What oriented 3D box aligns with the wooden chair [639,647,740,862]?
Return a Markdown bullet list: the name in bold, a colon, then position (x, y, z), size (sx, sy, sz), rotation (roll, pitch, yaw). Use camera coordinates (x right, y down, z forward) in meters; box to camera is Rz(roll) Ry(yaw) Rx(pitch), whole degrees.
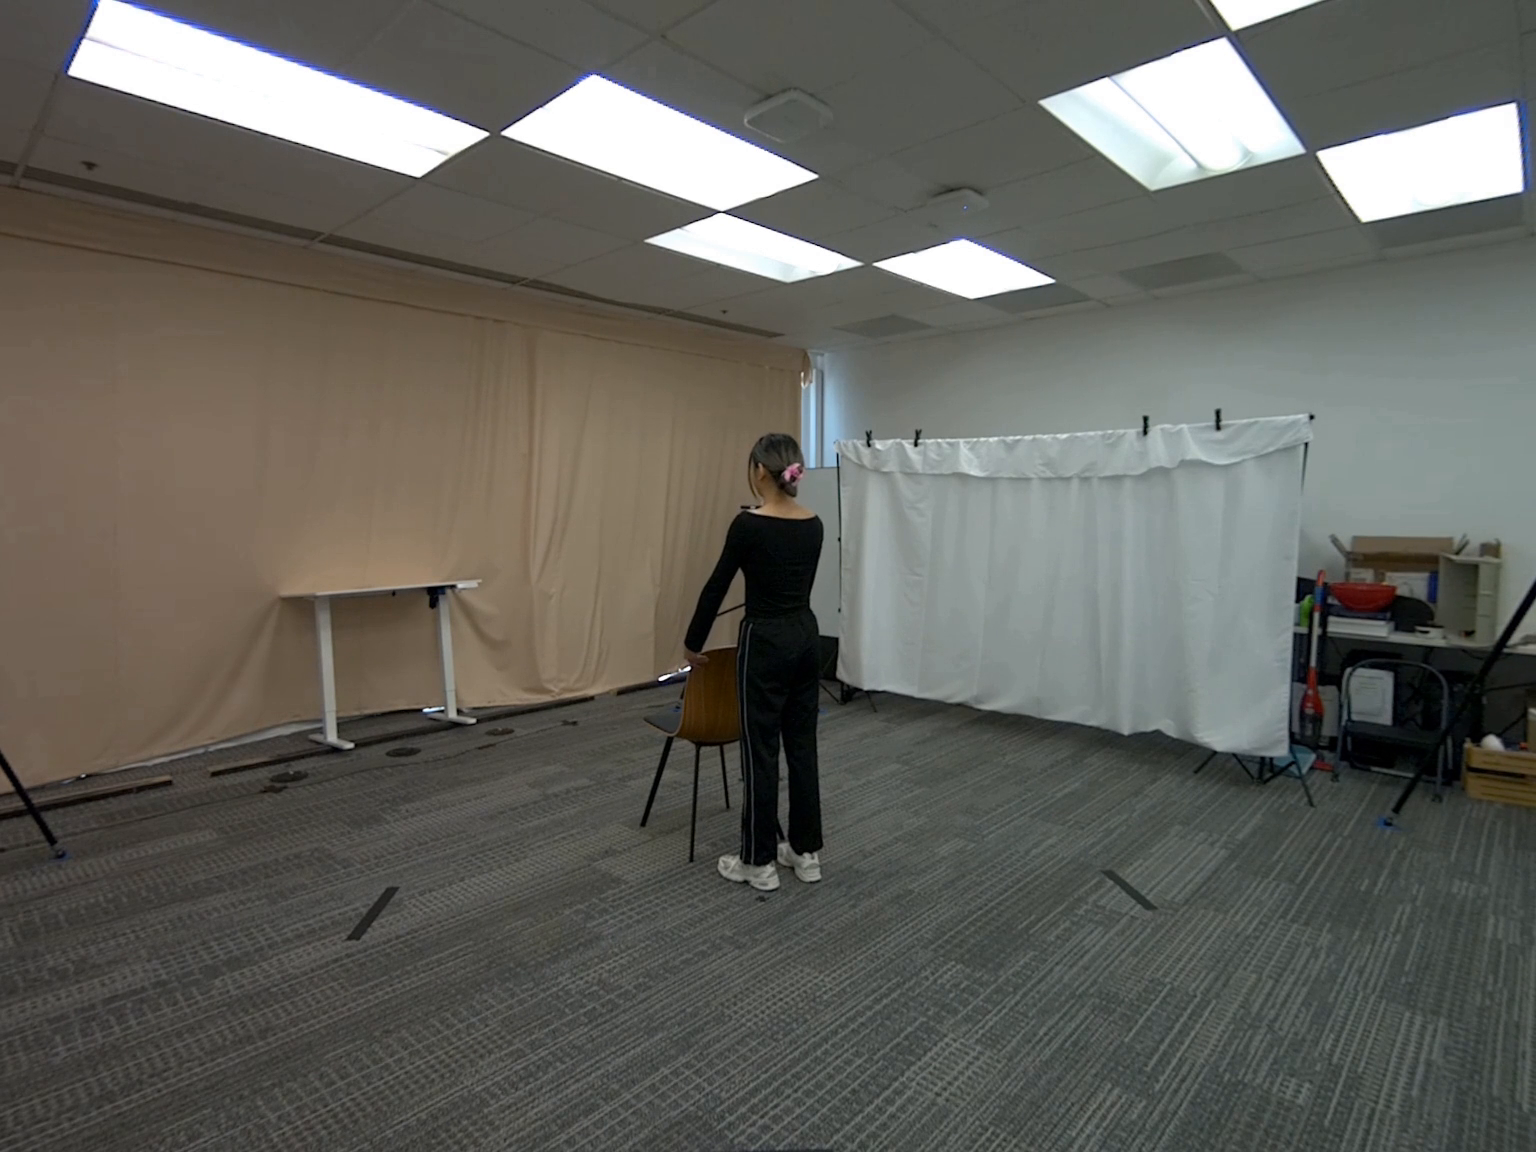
- **wooden chair**: position (-0.253, 0.671, 3.571), size (0.465, 0.874, 0.540), rotation (-2, 8, -32)
